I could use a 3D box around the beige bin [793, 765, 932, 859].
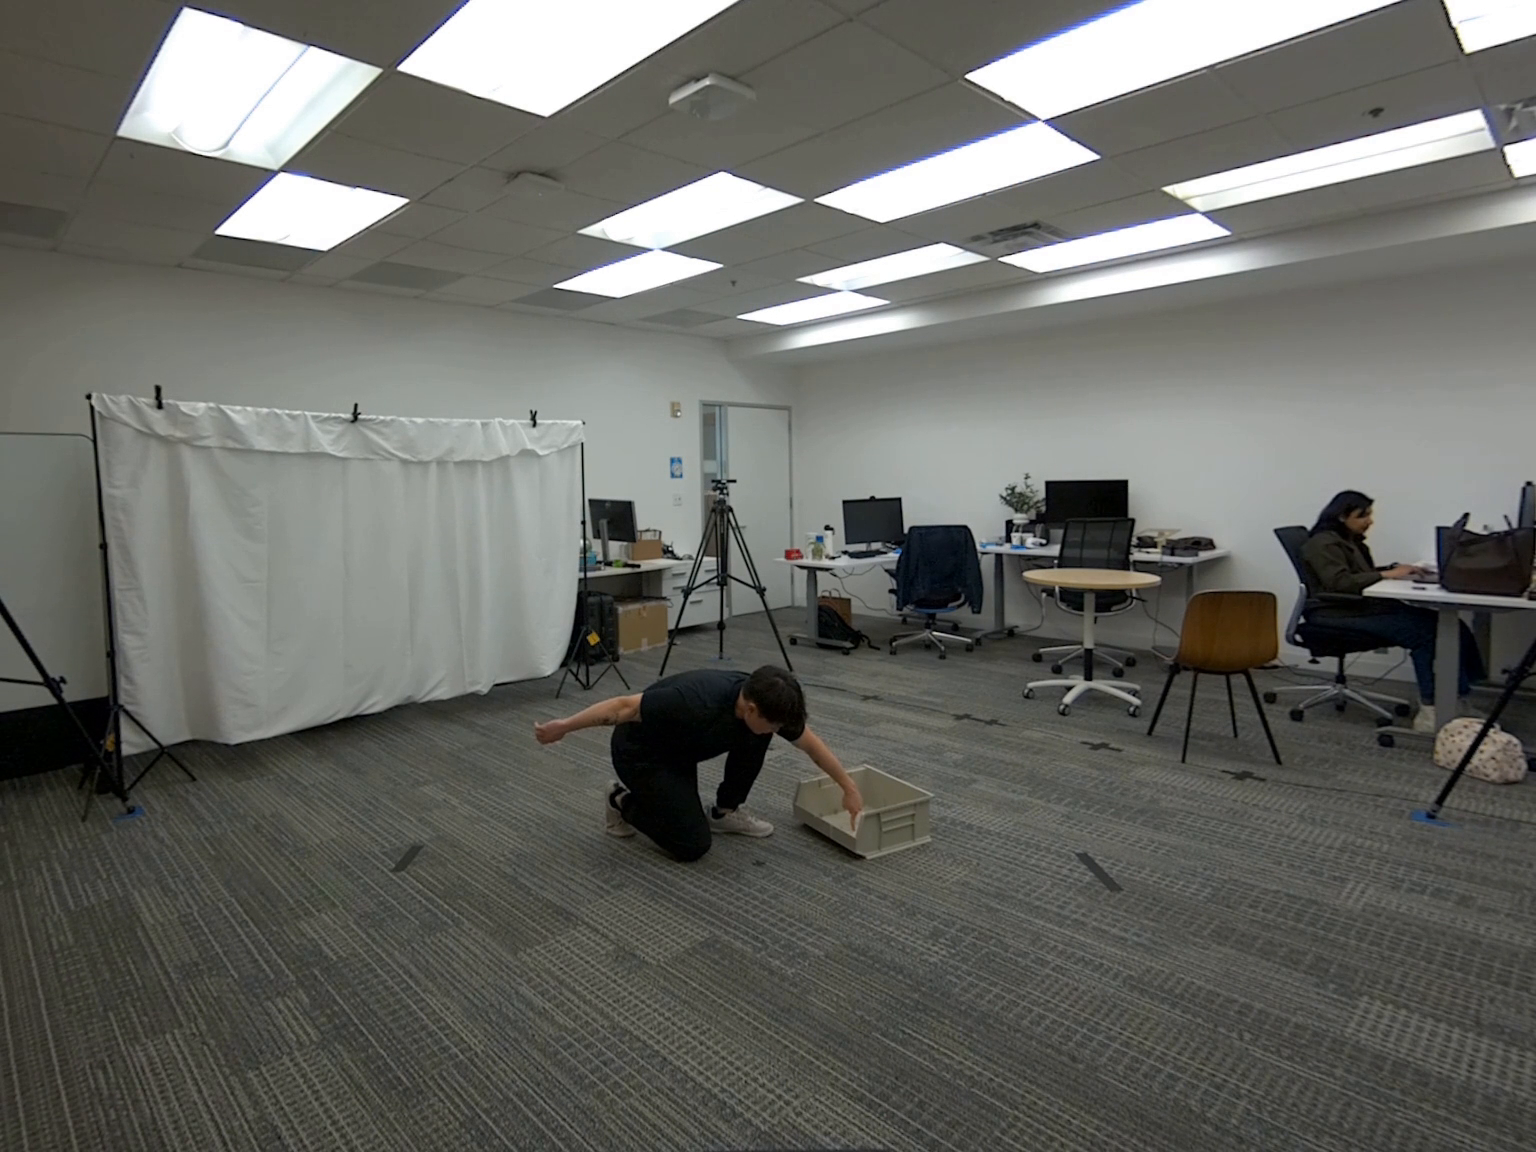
[{"bbox_3d":[0.363,0.917,3.356,0.368,0.188,0.434,-4,6,-31],"label":"beige bin"}]
